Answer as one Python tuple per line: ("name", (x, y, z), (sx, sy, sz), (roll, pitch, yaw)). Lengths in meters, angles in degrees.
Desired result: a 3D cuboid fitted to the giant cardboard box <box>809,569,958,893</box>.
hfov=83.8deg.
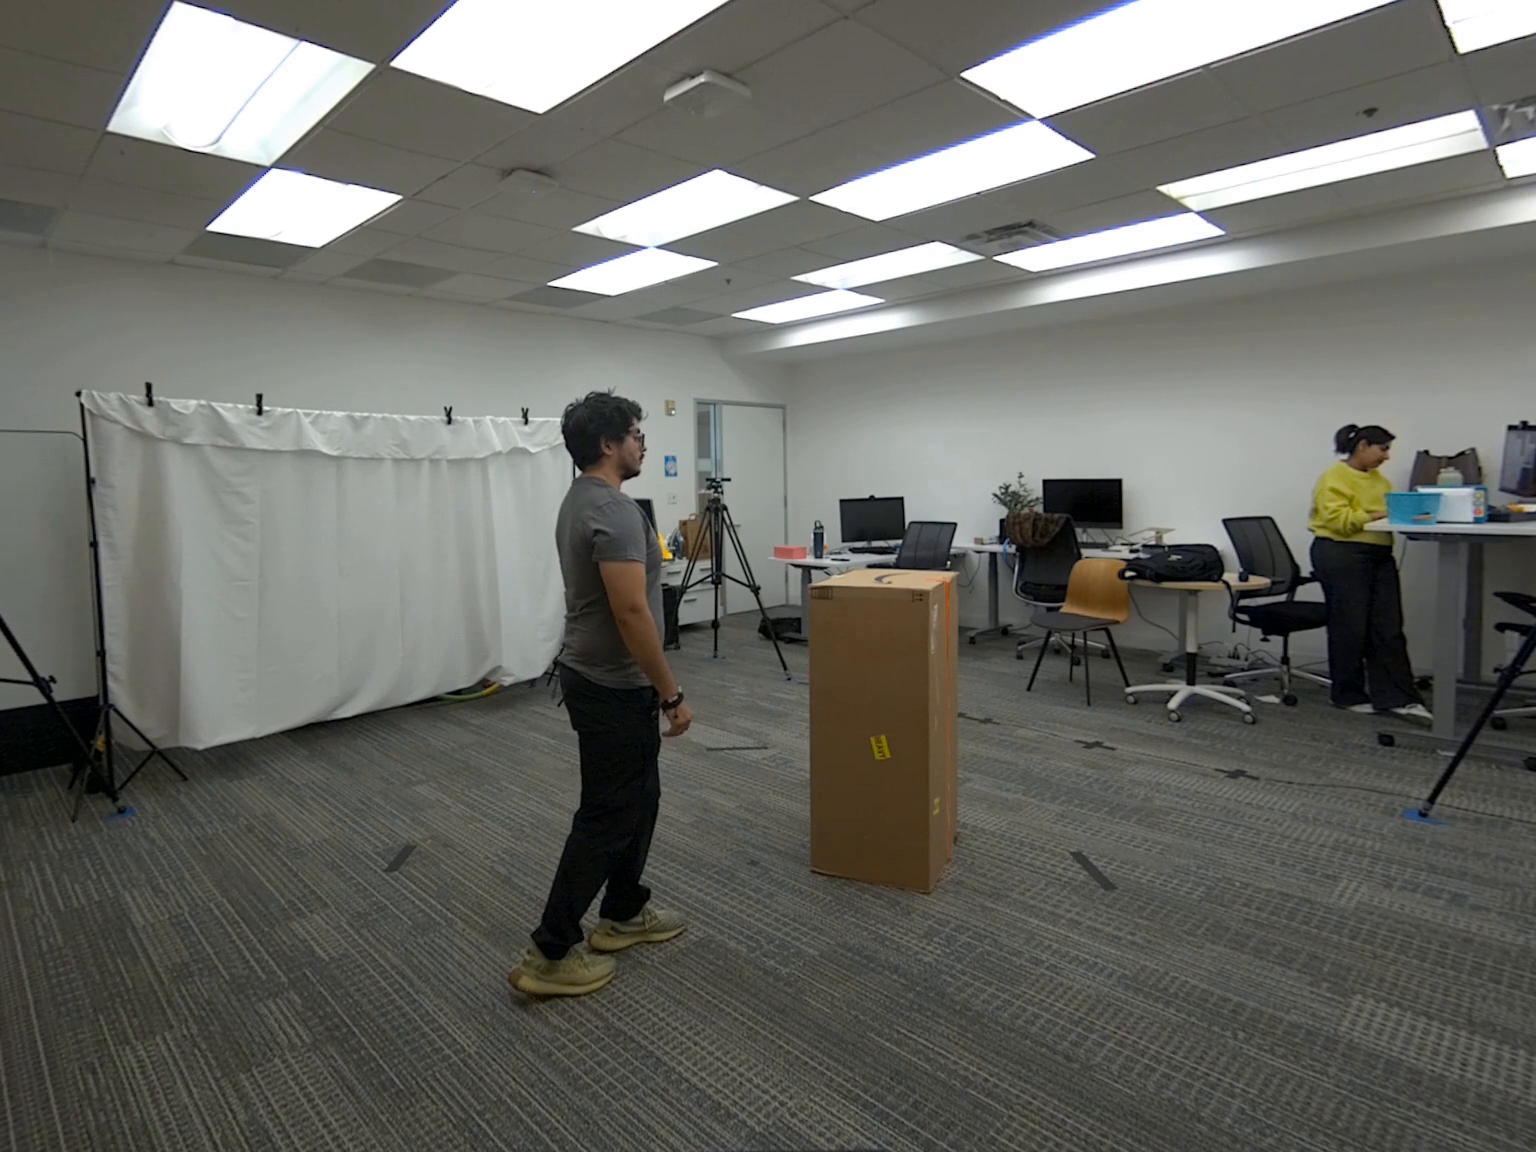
("giant cardboard box", (0.448, 0.518, 3.165), (0.436, 1.022, 0.566), (1, 4, 24))
